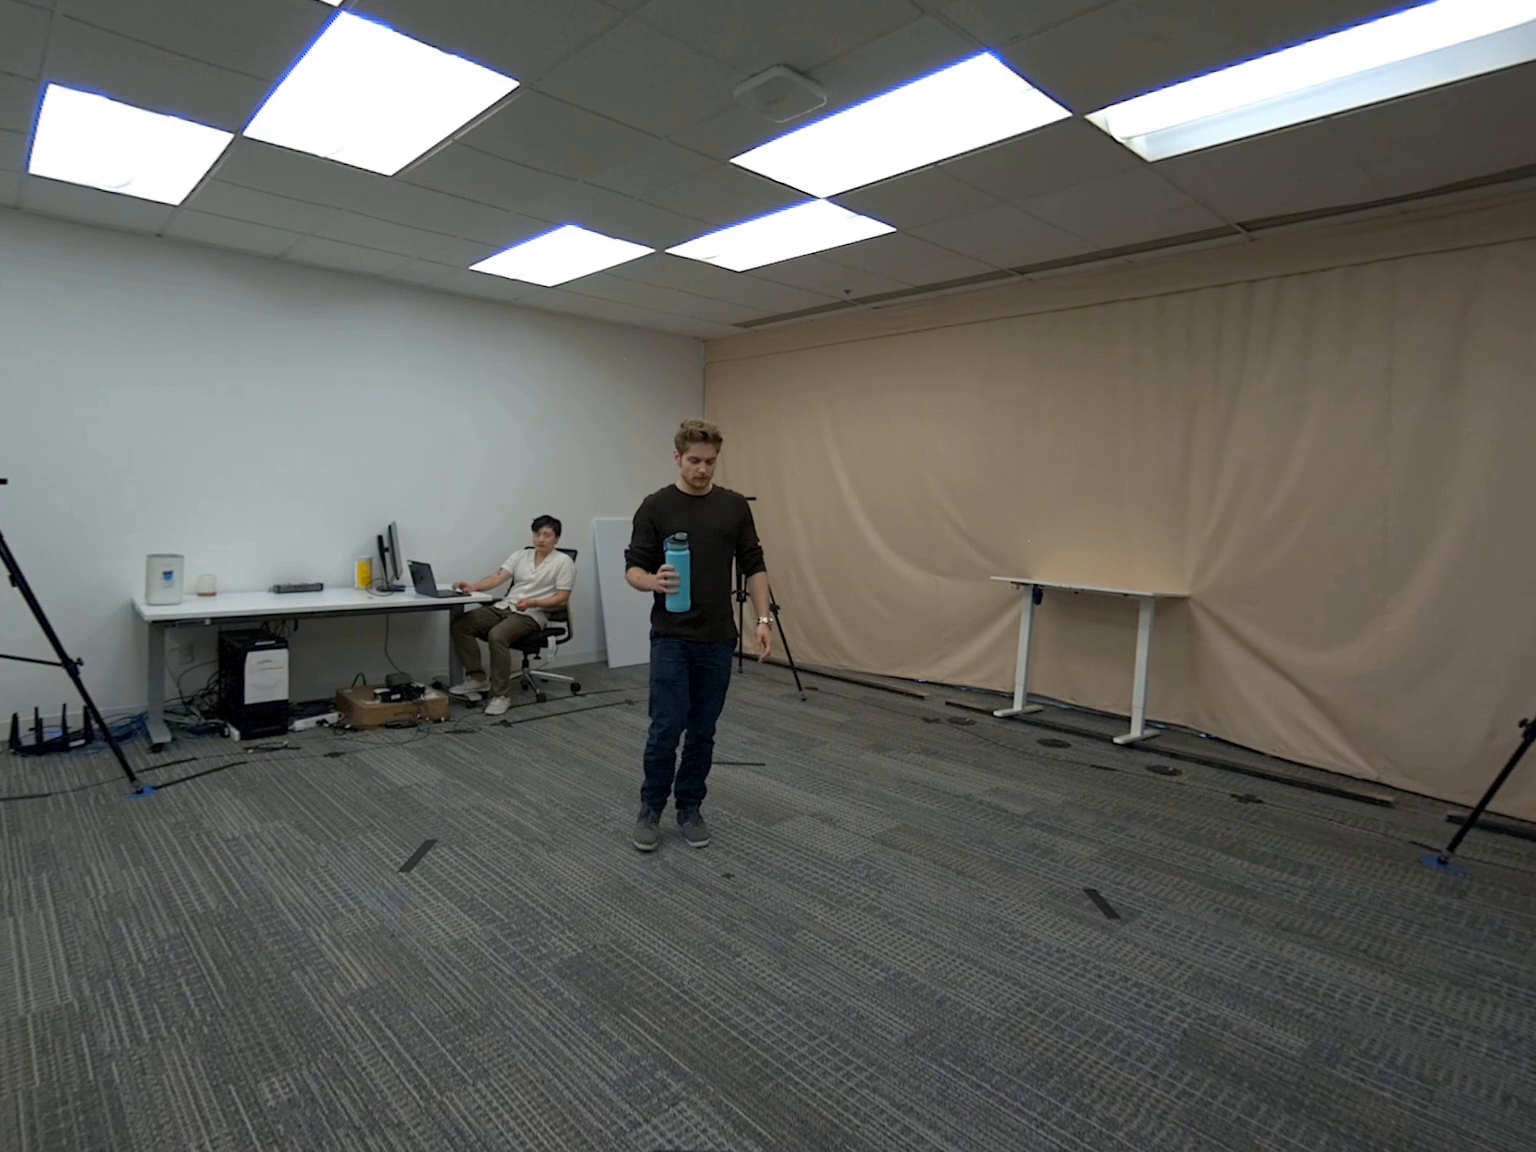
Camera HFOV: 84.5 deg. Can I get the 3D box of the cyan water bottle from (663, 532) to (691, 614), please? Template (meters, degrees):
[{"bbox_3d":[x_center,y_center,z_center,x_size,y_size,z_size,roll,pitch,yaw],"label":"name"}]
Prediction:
[{"bbox_3d":[-0.351,-0.016,3.084,0.092,0.281,0.093,2,14,-2],"label":"cyan water bottle"}]
